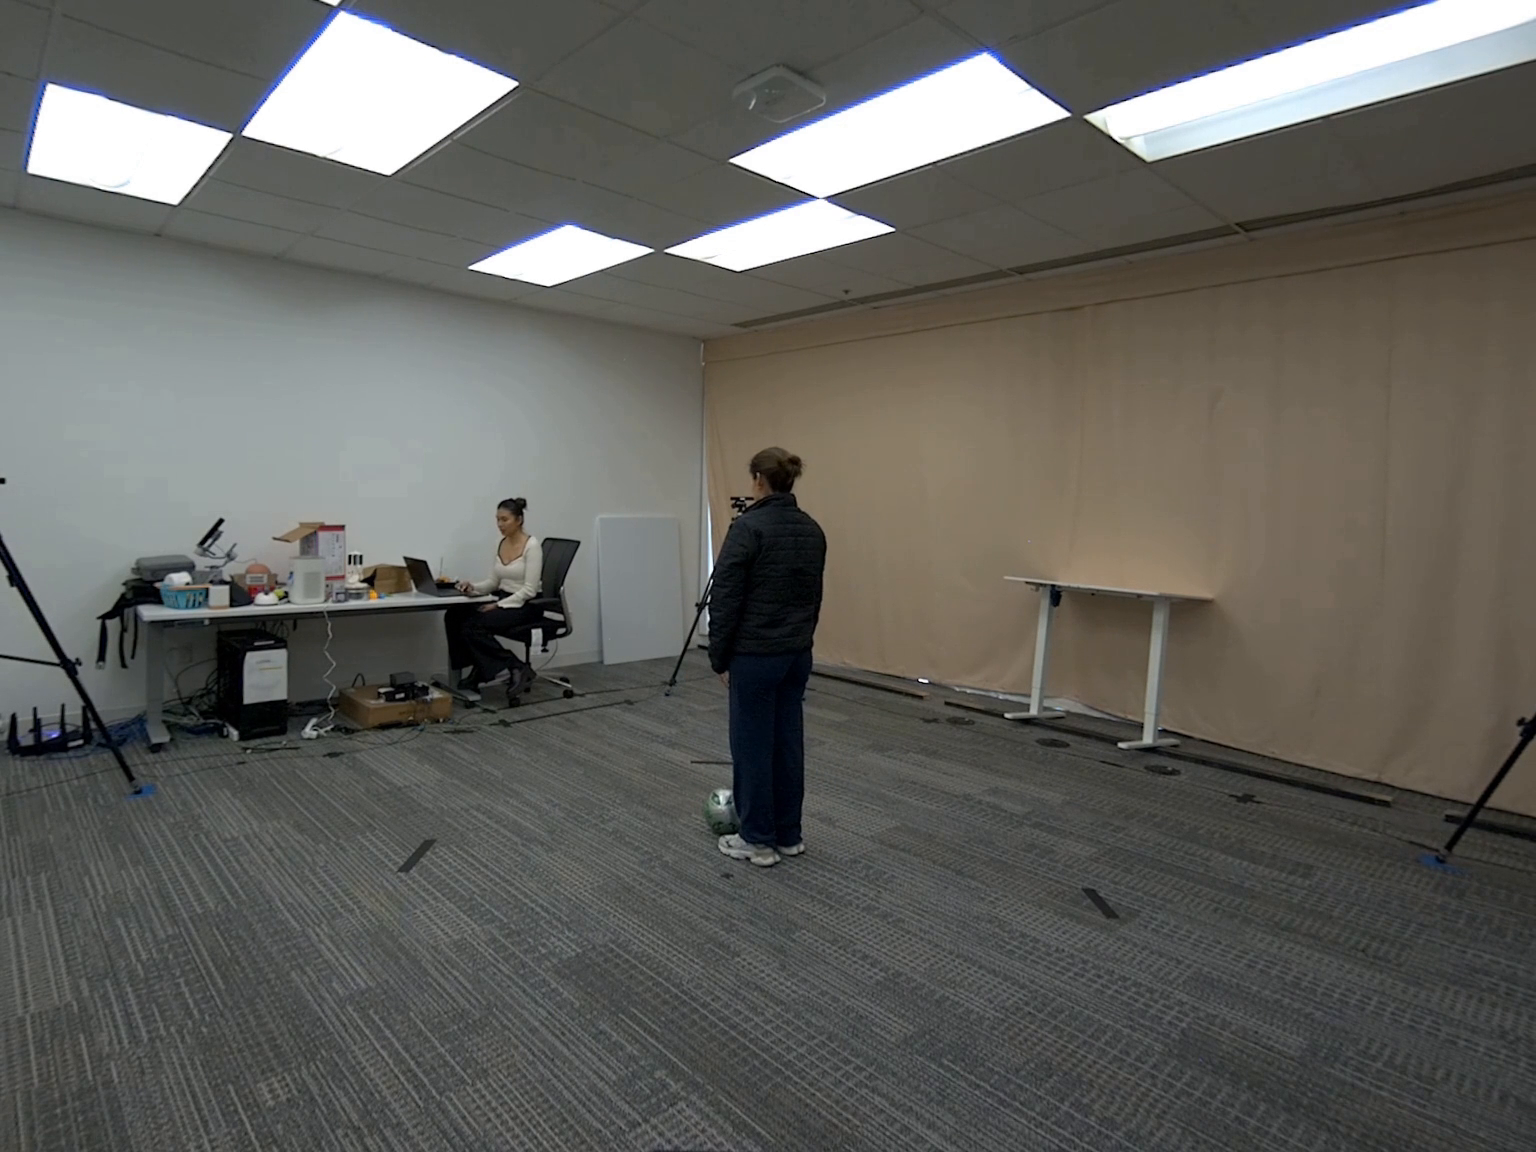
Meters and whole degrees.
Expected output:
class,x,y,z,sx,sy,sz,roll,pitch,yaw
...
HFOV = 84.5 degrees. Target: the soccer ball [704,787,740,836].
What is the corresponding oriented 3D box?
class,x,y,z,sx,sy,sz,roll,pitch,yaw
soccer ball,-0.175,0.981,3.508,0.187,0.187,0.188,1,4,-1
